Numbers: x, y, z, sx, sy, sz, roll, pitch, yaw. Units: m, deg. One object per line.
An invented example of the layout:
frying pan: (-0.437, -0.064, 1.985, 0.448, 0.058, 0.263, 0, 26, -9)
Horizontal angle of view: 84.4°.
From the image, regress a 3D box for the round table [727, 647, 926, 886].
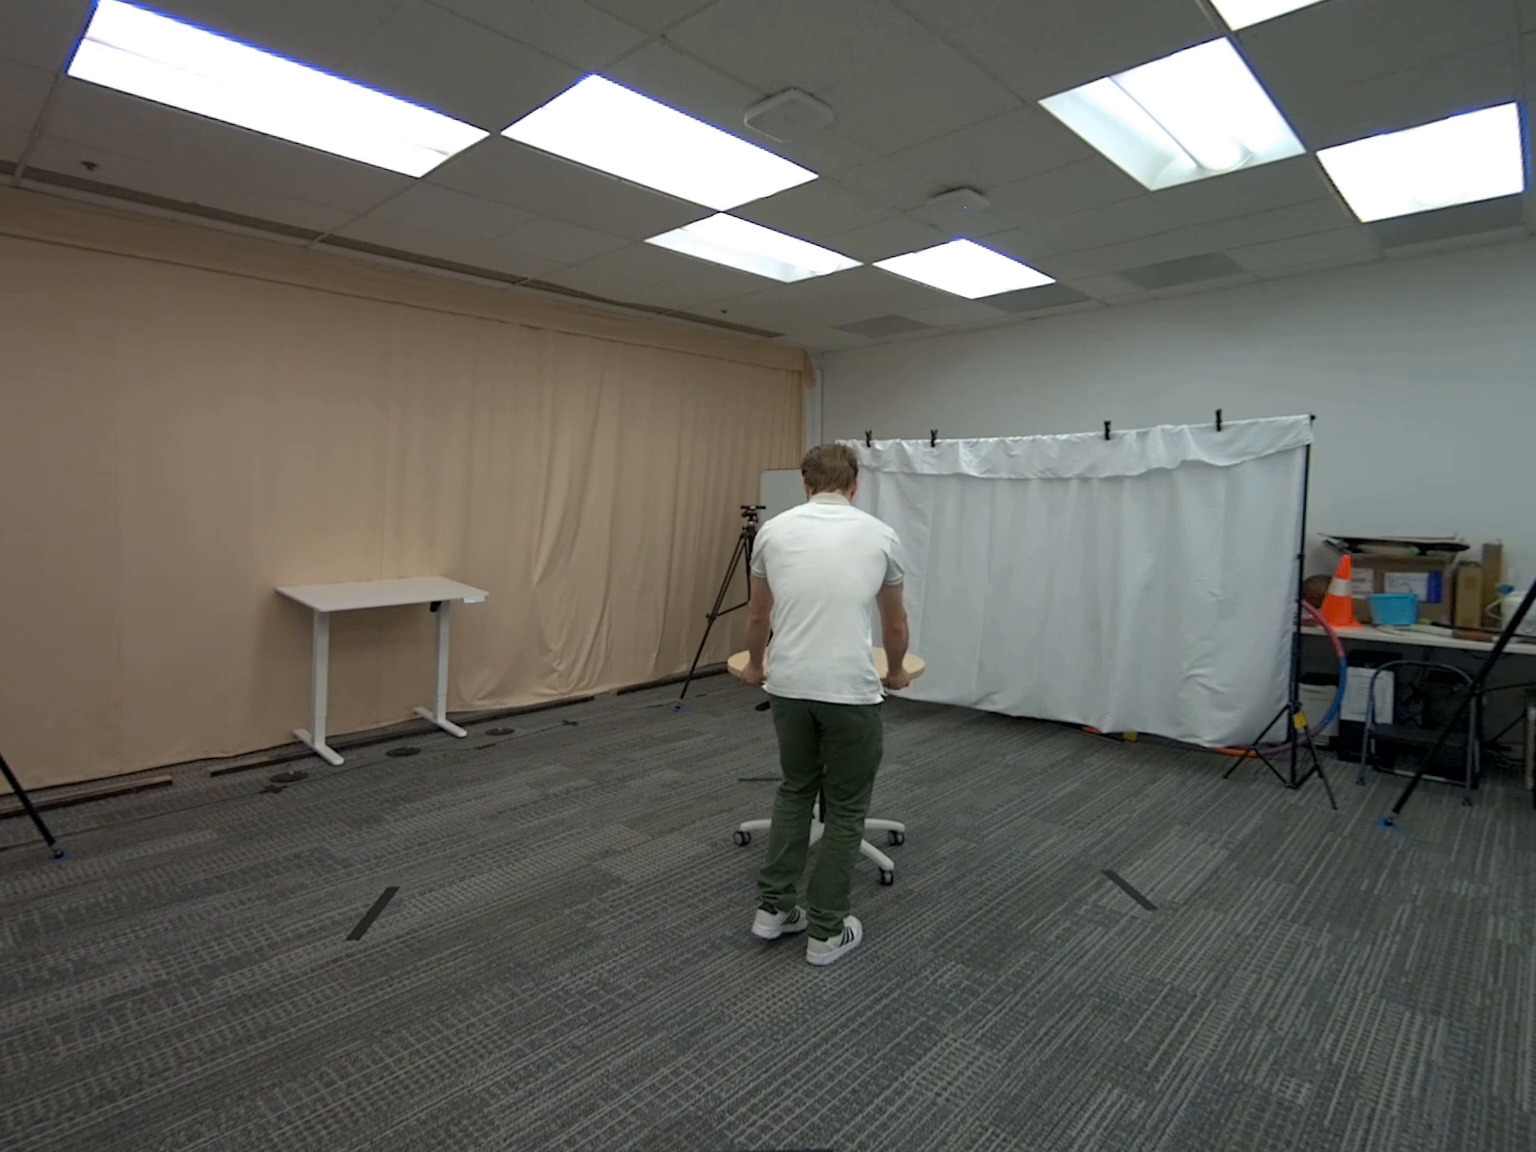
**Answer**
round table: (0.232, 0.718, 3.315, 0.784, 0.785, 0.788, -1, 4, -2)
